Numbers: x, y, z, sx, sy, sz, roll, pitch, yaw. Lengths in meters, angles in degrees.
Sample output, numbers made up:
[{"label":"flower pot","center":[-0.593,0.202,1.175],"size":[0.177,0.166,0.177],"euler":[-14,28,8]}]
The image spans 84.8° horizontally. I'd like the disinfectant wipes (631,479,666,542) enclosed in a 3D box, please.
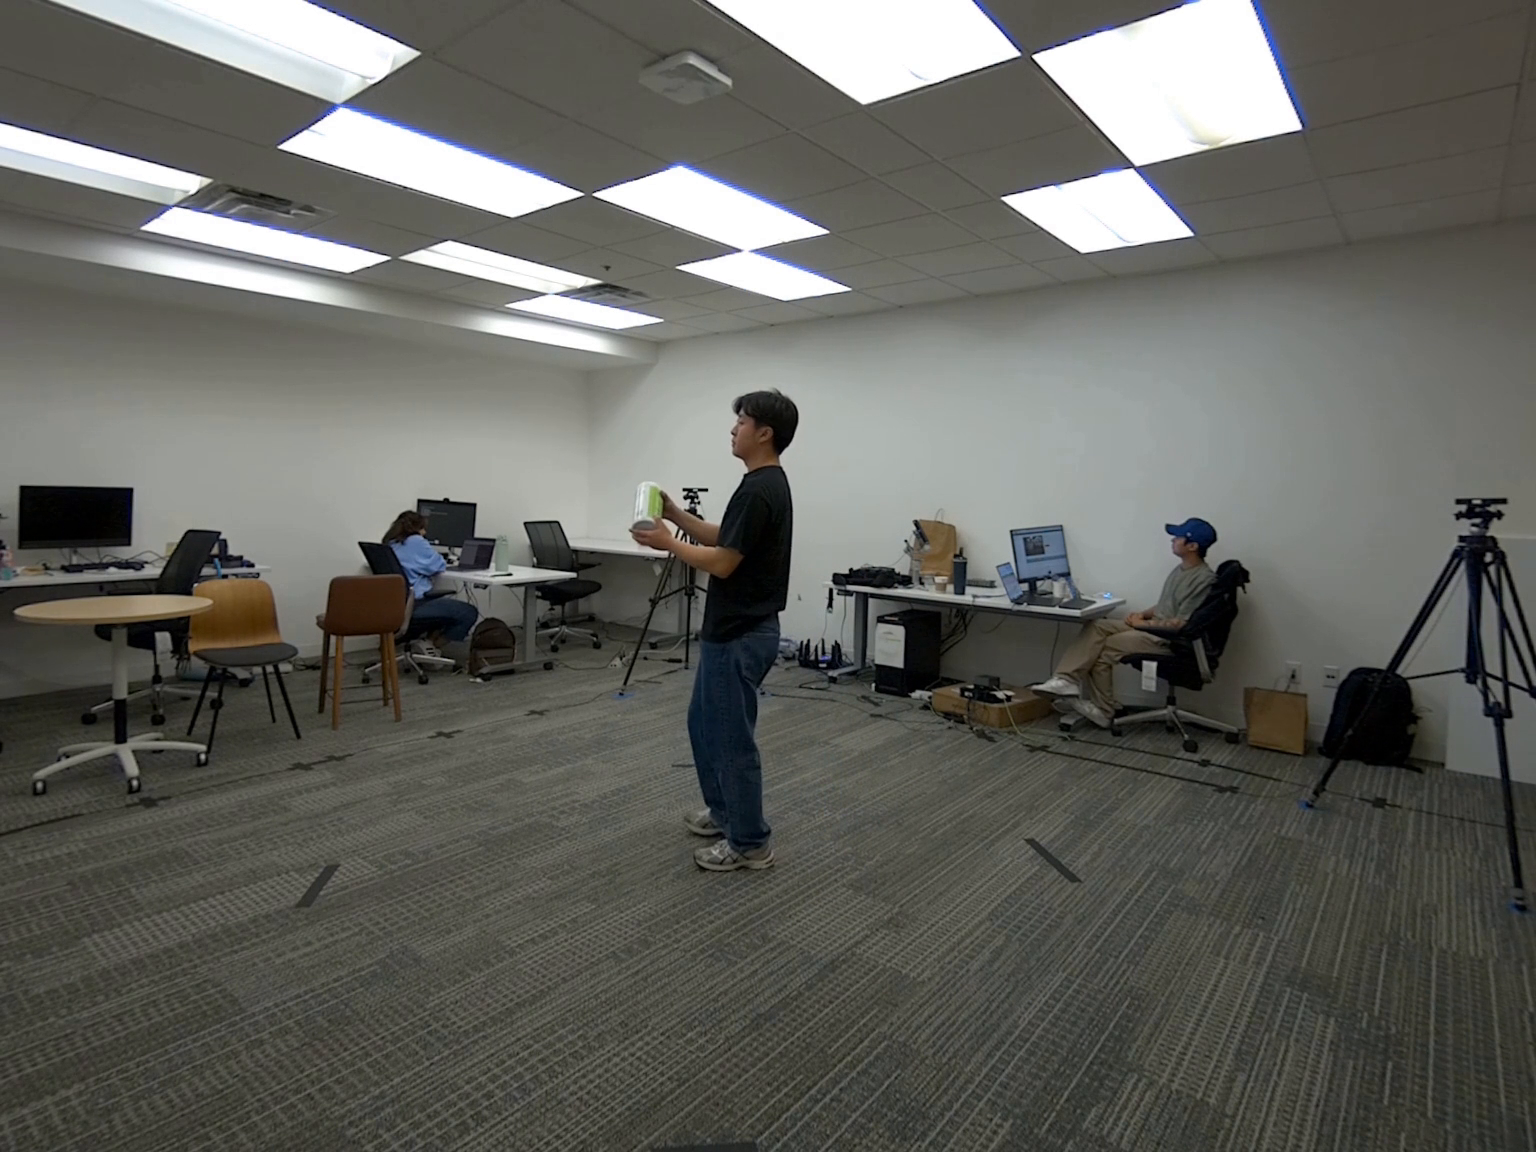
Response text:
[{"label":"disinfectant wipes","center":[-0.454,-0.252,3.197],"size":[0.117,0.115,0.224],"euler":[0,46,-5]}]
